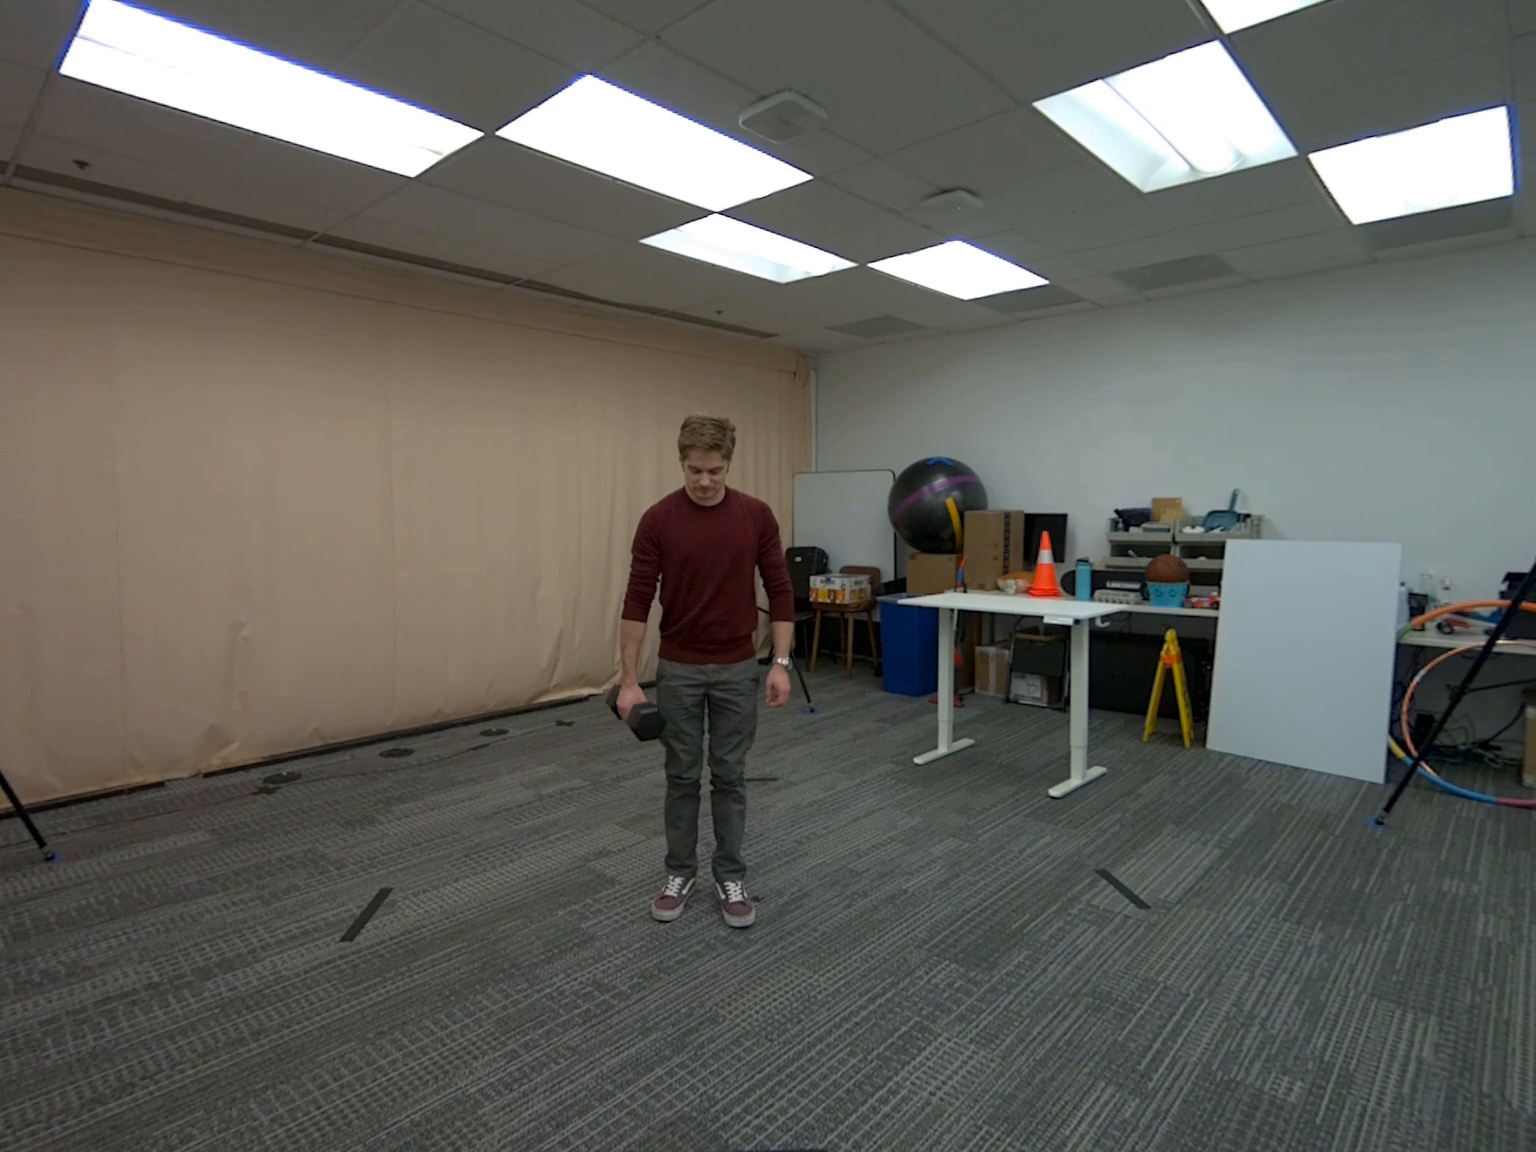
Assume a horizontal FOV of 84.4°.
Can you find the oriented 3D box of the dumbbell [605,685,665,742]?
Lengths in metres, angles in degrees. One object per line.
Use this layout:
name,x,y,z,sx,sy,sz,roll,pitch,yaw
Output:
dumbbell,-0.436,0.449,2.809,0.105,0.123,0.303,27,-3,-31
